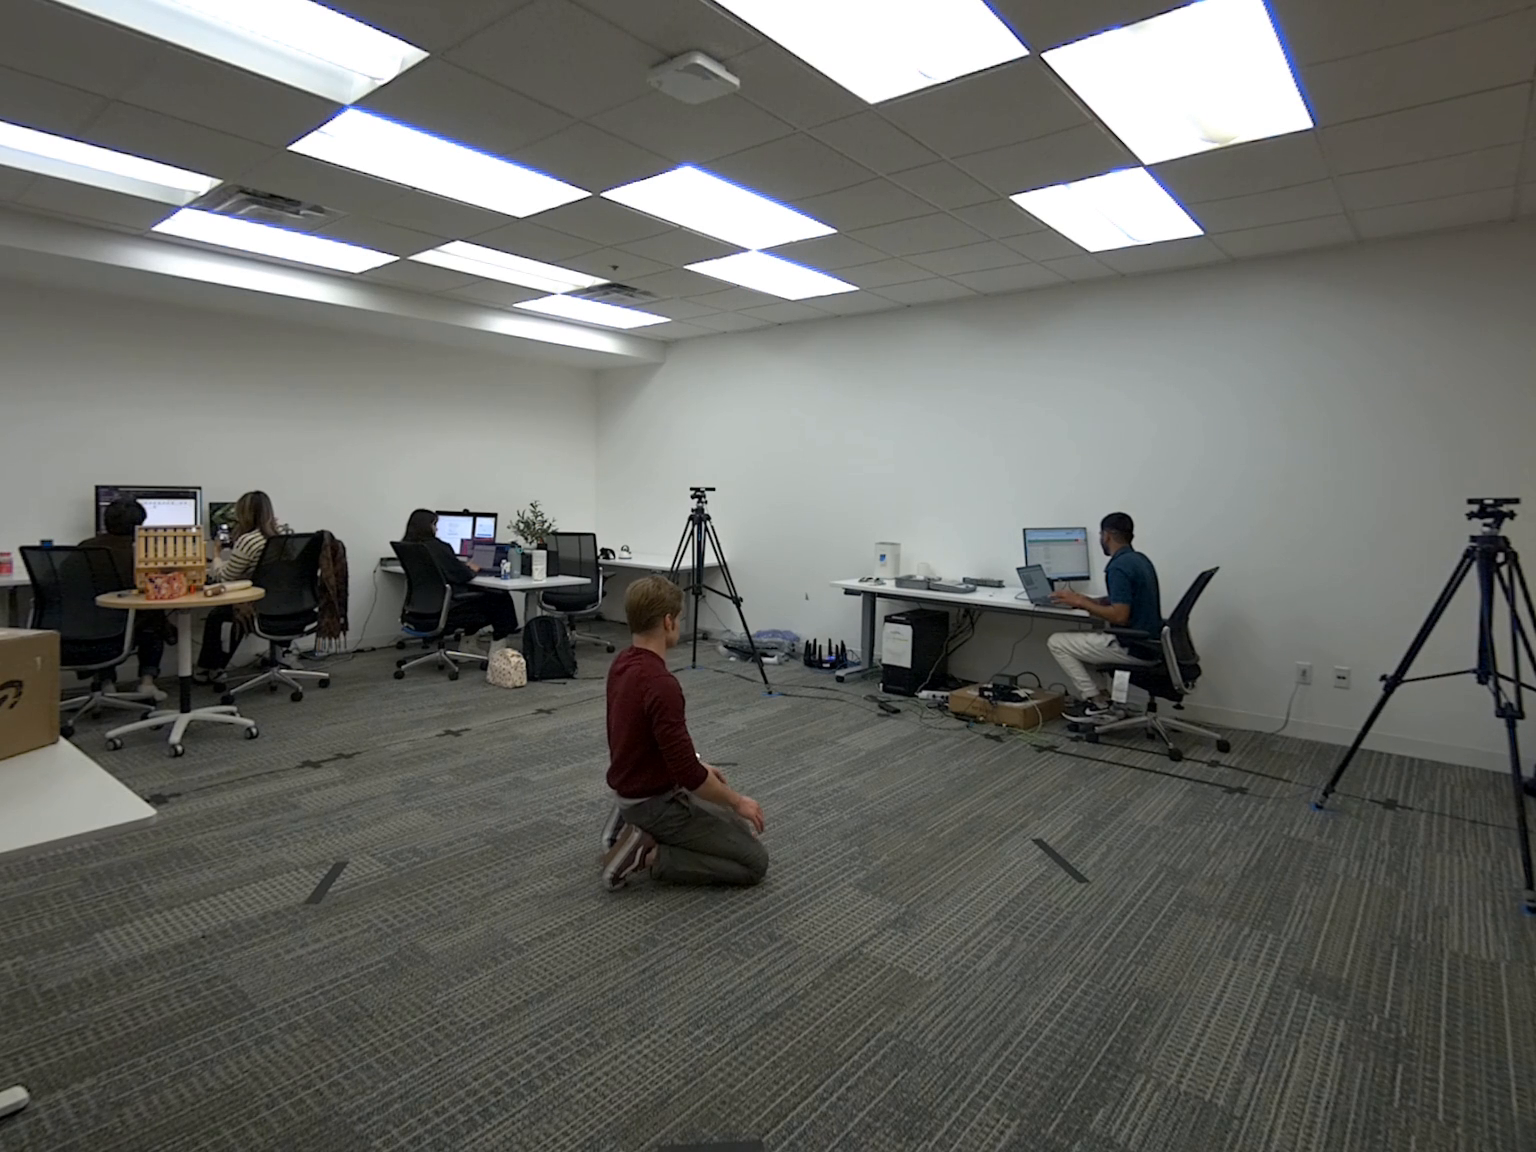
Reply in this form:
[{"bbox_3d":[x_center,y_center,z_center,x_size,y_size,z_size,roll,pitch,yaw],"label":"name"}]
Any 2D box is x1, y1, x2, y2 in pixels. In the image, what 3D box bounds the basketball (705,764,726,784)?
[{"bbox_3d":[-0.300,0.902,3.506,0.235,0.235,0.237,1,4,-2],"label":"basketball"}]
